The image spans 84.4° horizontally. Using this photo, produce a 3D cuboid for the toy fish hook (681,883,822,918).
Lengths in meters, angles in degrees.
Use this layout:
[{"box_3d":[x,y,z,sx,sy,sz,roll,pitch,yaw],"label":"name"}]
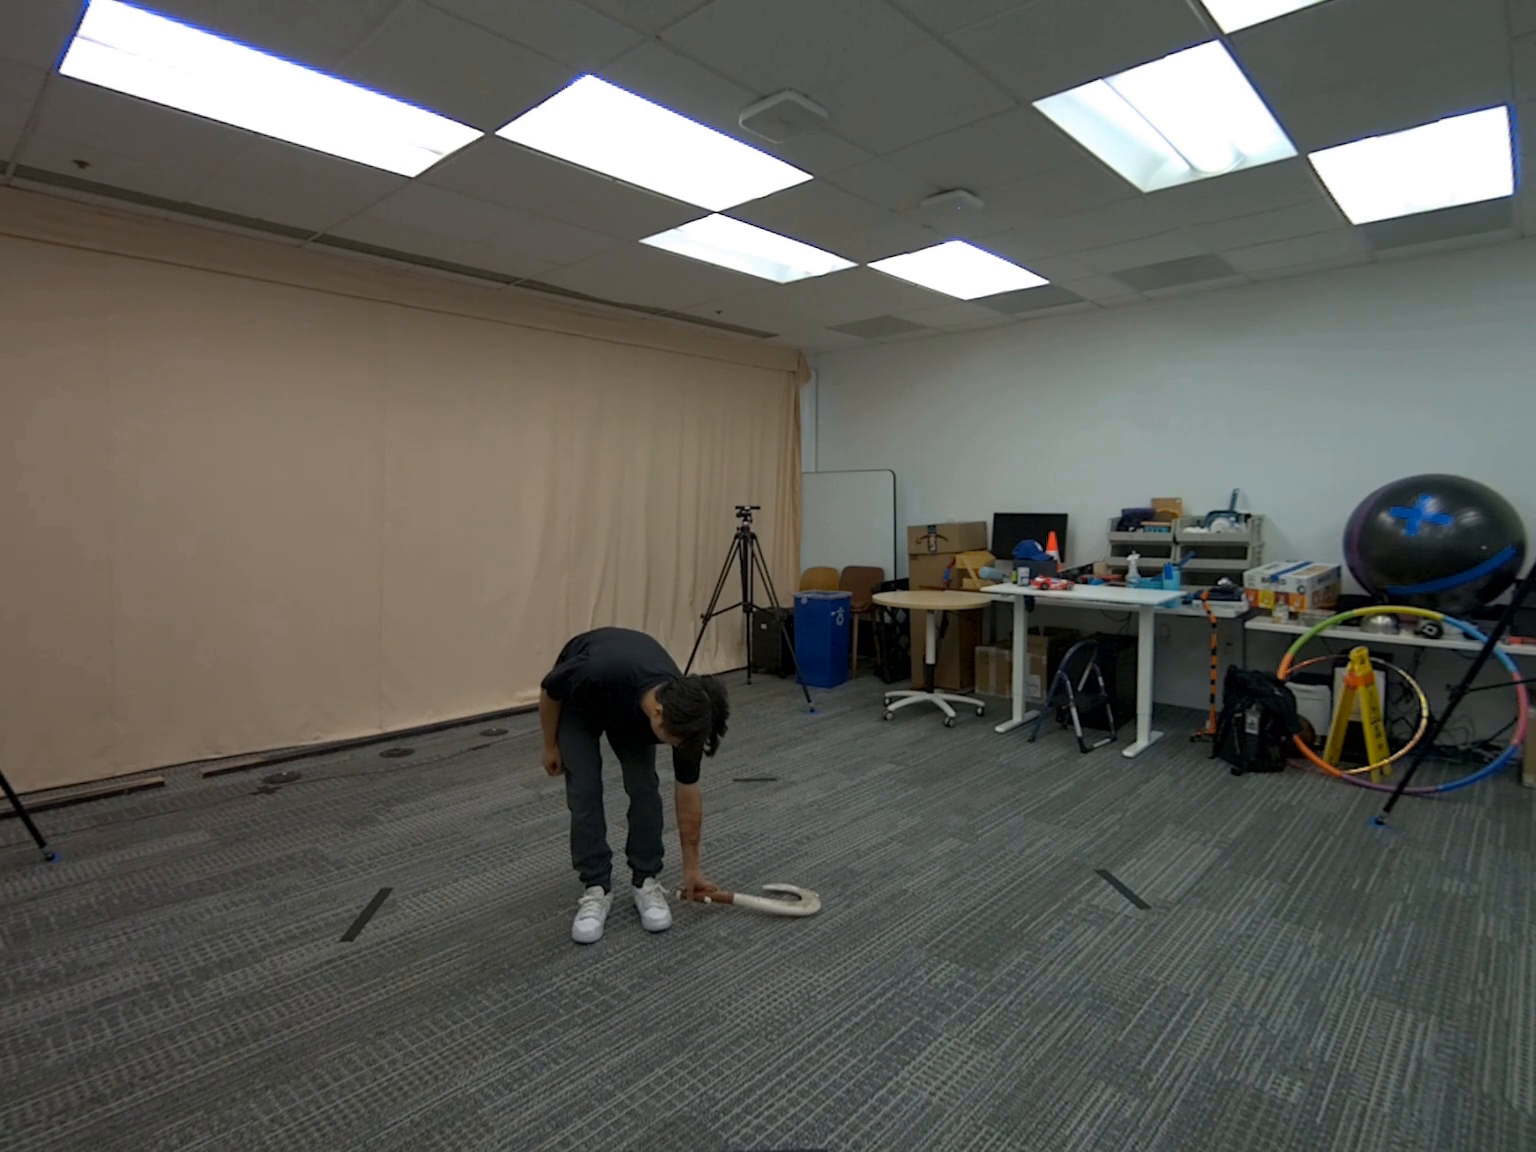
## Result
[{"box_3d":[-0.068,1.111,2.926,0.506,0.048,0.224,7,-3,-2],"label":"toy fish hook"}]
